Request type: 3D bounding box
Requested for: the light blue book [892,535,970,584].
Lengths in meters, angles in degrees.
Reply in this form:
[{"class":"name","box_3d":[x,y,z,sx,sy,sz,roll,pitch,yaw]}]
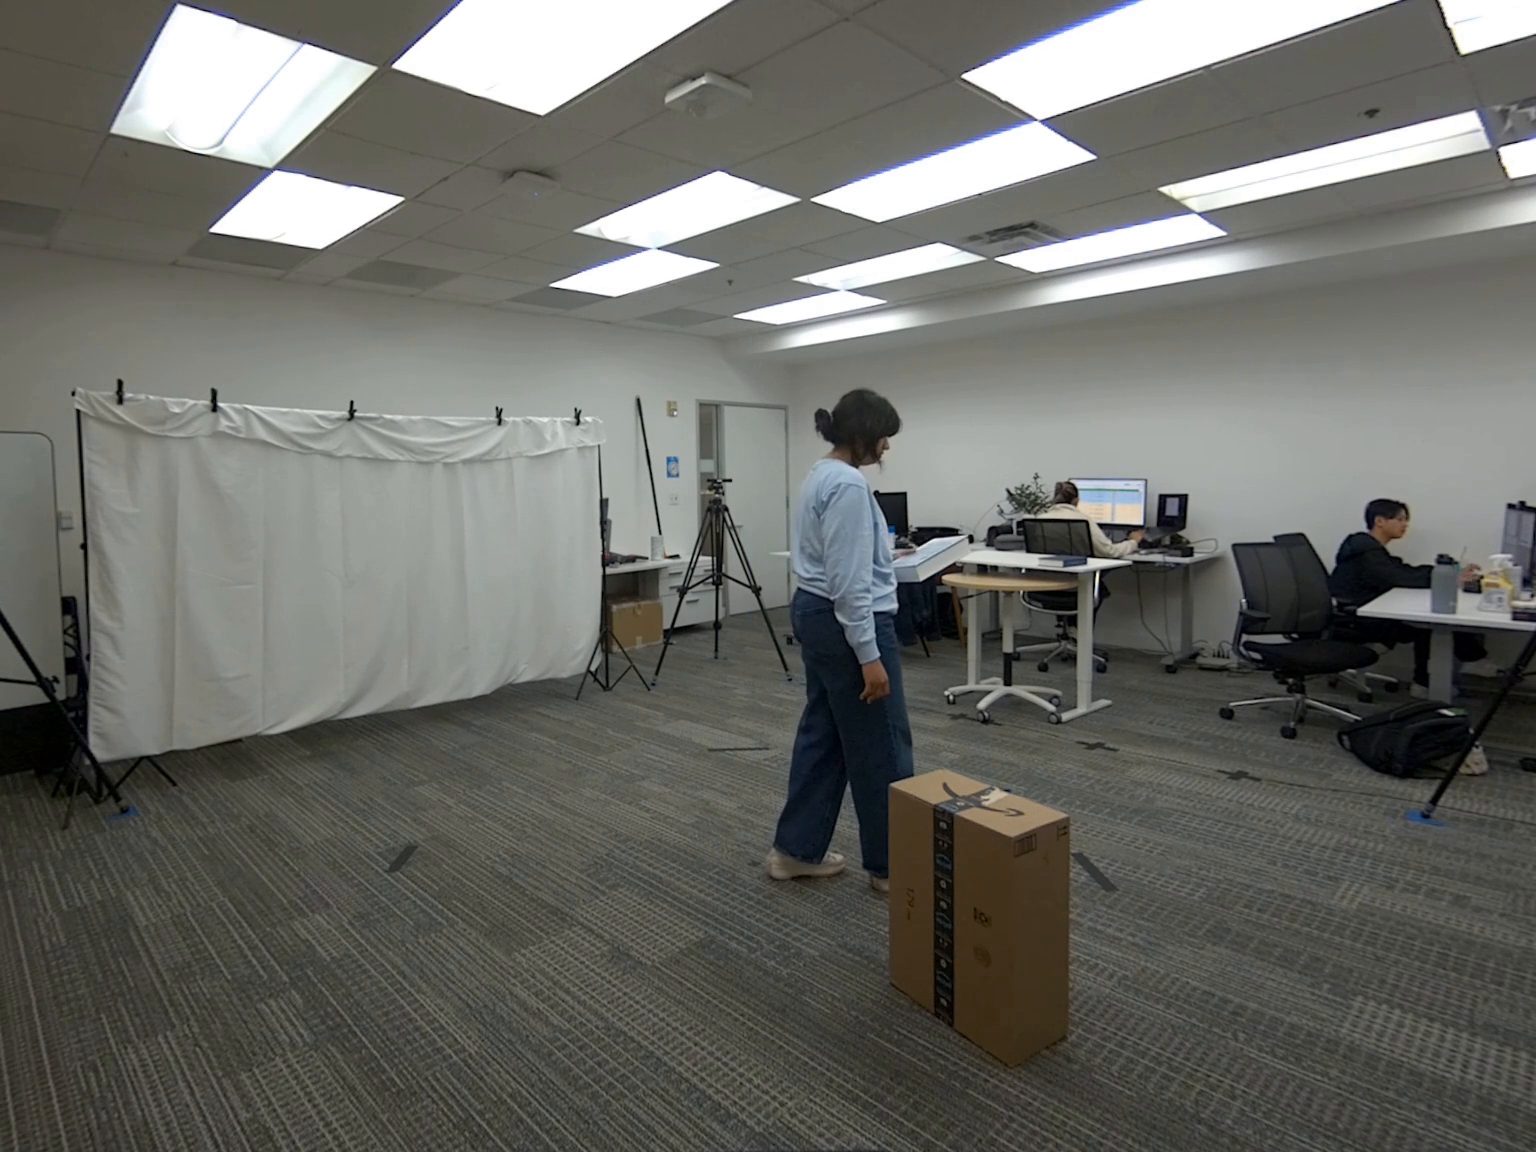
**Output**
[{"class":"light blue book","box_3d":[0.564,-0.056,2.970,0.258,0.058,0.195,-28,12,-27]}]
